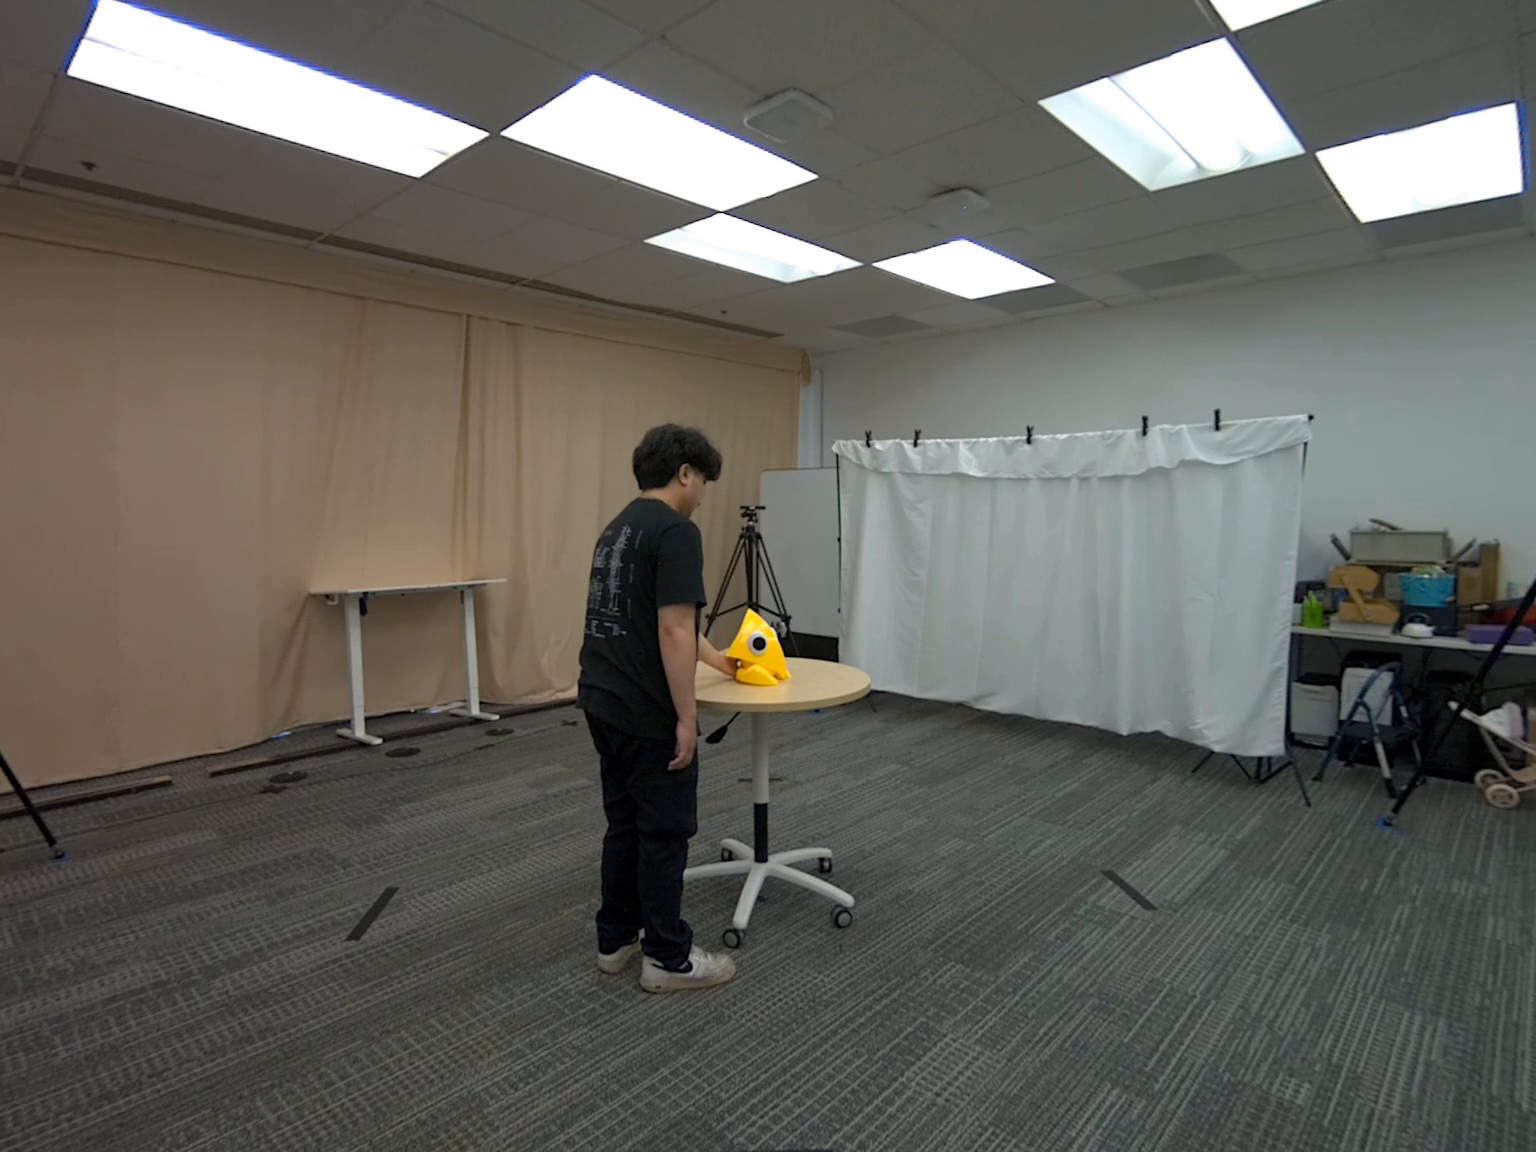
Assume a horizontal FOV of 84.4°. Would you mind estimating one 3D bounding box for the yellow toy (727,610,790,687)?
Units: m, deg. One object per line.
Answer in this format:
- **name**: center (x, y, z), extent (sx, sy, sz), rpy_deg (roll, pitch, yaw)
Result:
- **yellow toy**: center (-0.015, 0.236, 2.892), extent (0.198, 0.230, 0.200), rpy_deg (7, 7, 24)
